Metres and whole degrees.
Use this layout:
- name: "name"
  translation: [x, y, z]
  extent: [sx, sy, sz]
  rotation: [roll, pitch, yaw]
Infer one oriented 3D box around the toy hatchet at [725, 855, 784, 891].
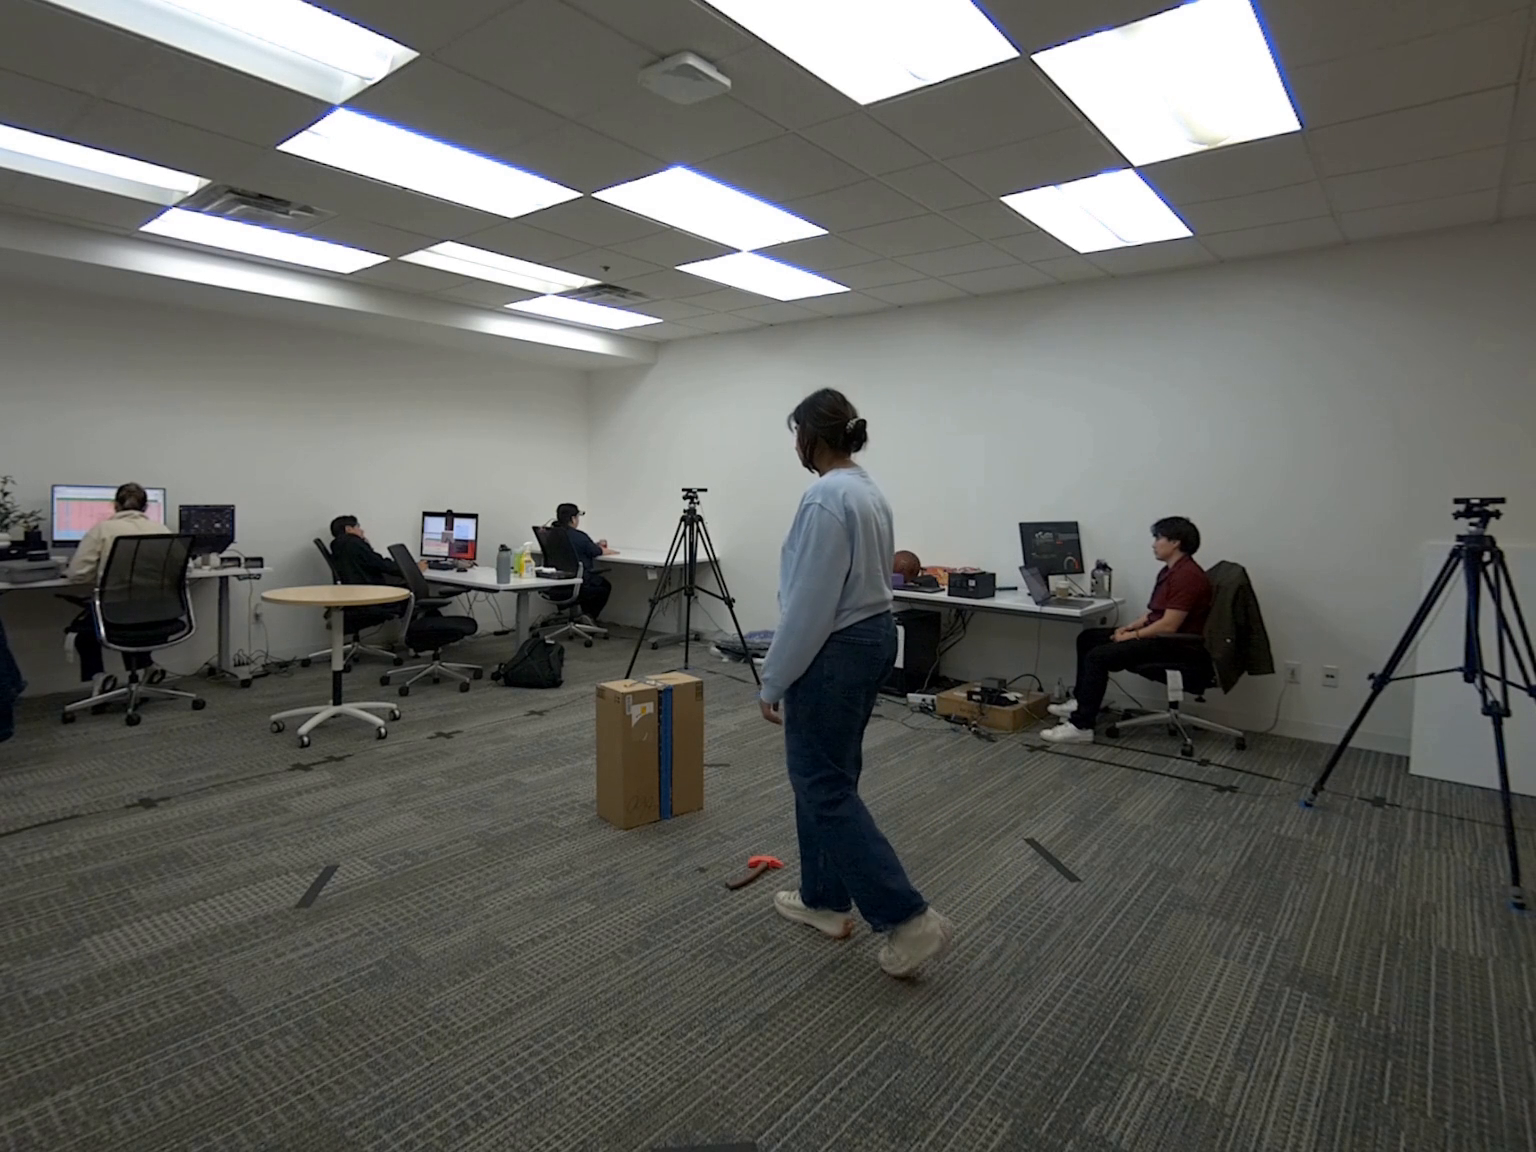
- name: "toy hatchet"
  translation: [-0.085, 1.061, 3.077]
  extent: [0.262, 0.029, 0.135]
  rotation: [-7, 10, -44]
